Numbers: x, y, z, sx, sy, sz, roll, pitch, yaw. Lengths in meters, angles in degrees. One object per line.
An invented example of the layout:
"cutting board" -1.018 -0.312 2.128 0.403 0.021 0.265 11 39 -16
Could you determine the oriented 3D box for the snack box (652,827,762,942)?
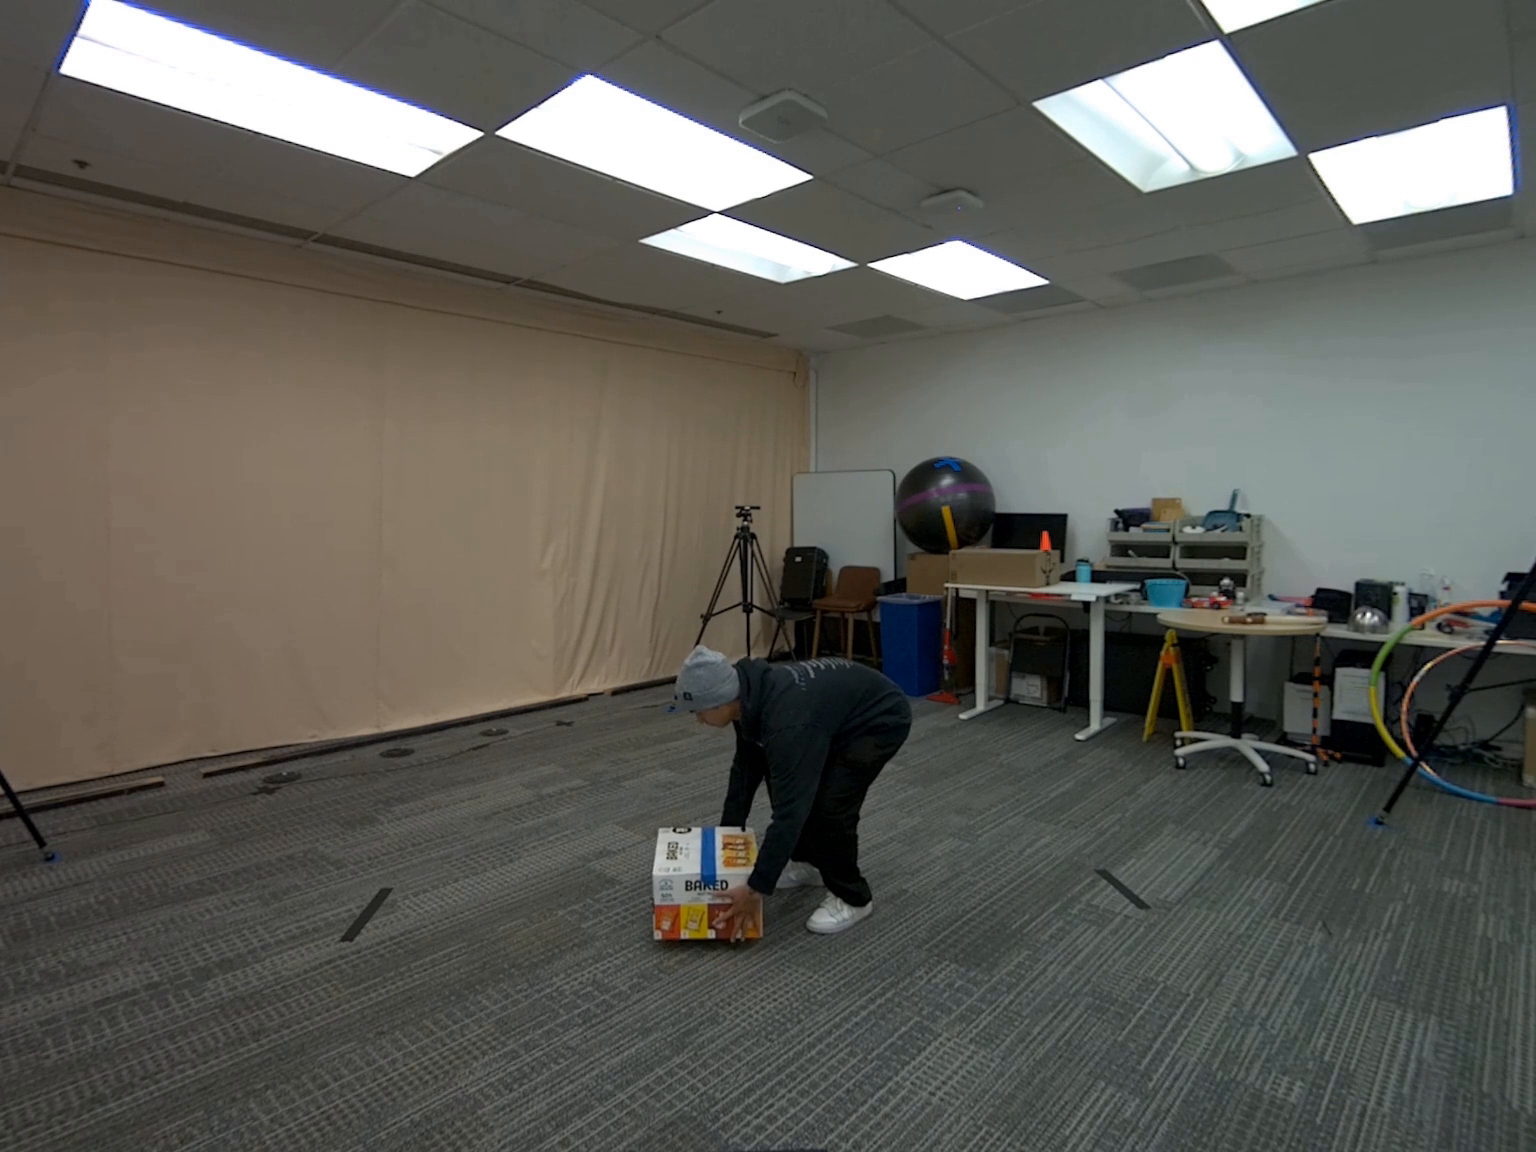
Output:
"snack box" -0.204 1.012 2.806 0.340 0.205 0.407 0 4 -3
